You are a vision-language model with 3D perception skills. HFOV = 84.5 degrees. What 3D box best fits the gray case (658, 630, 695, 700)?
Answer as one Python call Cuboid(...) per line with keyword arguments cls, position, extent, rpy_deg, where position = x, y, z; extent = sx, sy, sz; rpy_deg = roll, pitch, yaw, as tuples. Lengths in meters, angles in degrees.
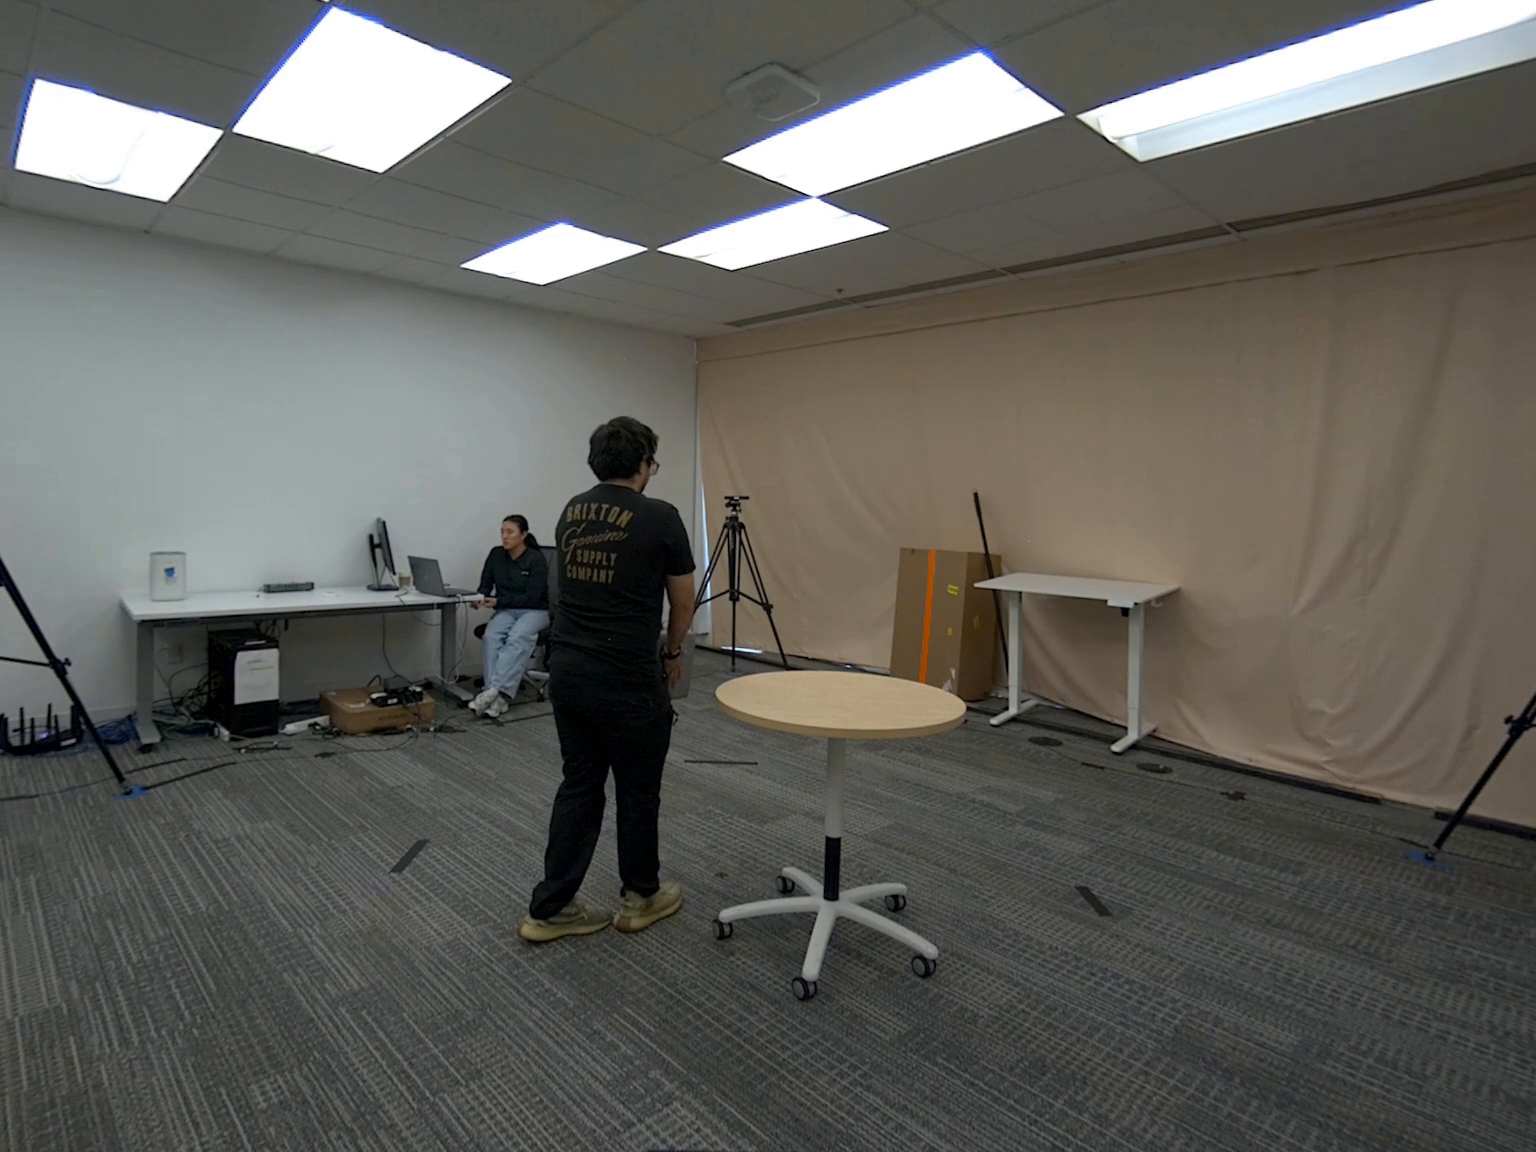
Cuboid(cls="gray case", position=(-0.373, 0.313, 2.993), extent=(0.107, 0.260, 0.251), rpy_deg=(9, 2, 29))
